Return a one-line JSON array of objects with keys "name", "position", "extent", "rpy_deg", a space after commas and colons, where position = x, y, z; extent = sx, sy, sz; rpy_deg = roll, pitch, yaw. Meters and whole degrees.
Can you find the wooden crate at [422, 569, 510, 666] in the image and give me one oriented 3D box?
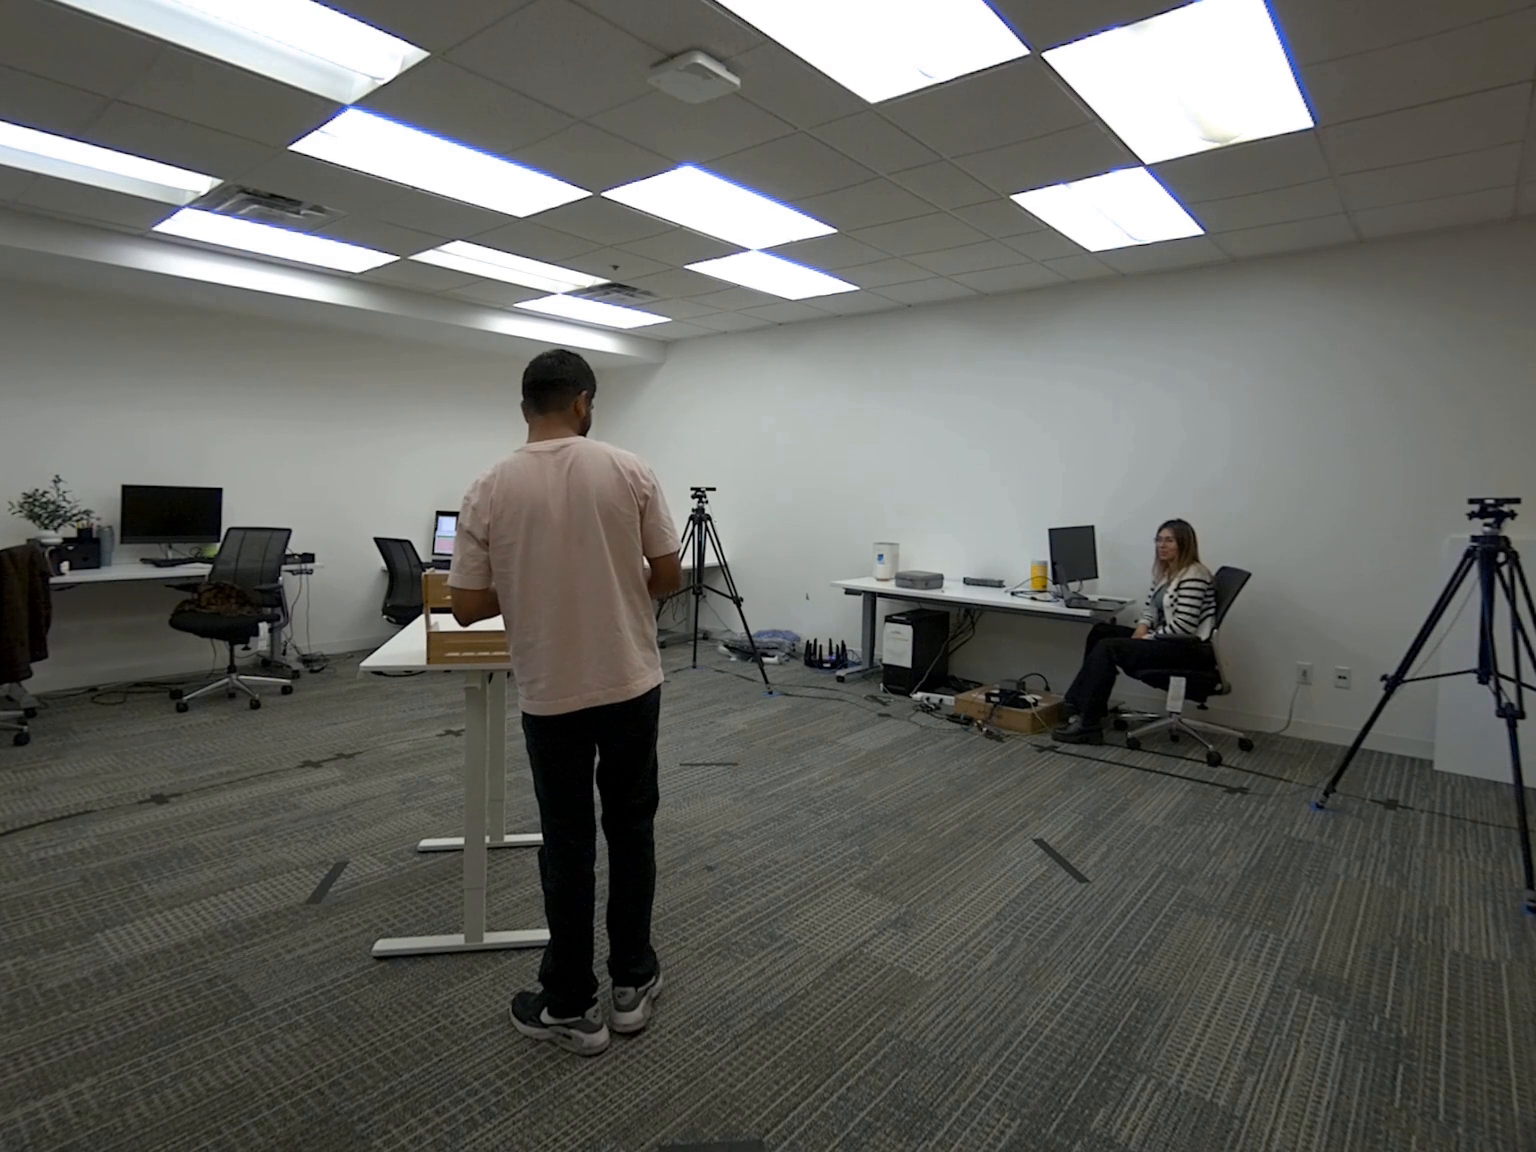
[{"name": "wooden crate", "position": [-0.839, 0.099, 2.482], "extent": [0.319, 0.272, 0.308], "rpy_deg": [-1, 7, -15]}]
